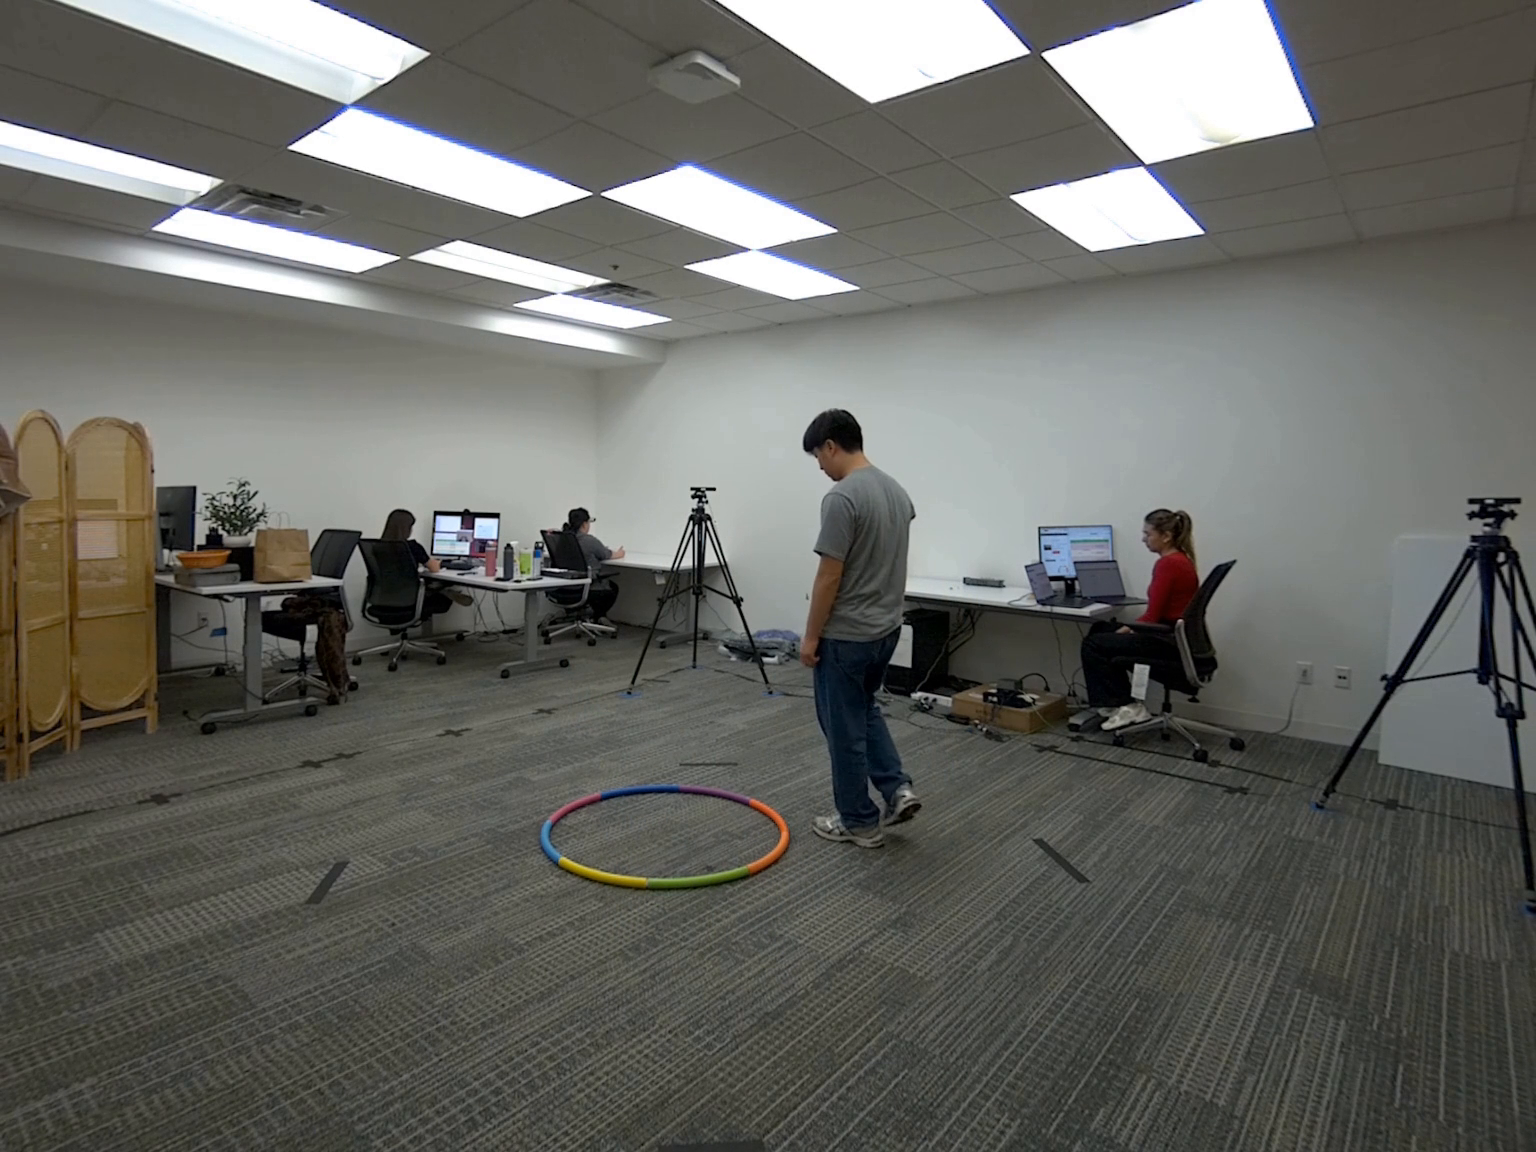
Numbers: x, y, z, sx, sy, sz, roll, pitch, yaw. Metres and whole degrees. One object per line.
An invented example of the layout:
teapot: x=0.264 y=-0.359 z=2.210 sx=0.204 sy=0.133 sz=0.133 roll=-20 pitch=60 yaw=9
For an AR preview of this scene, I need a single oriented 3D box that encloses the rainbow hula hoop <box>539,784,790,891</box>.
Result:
rainbow hula hoop: x=-0.419 y=1.003 z=3.401 sx=0.978 sy=0.035 sz=0.984 roll=1 pitch=6 yaw=-2
